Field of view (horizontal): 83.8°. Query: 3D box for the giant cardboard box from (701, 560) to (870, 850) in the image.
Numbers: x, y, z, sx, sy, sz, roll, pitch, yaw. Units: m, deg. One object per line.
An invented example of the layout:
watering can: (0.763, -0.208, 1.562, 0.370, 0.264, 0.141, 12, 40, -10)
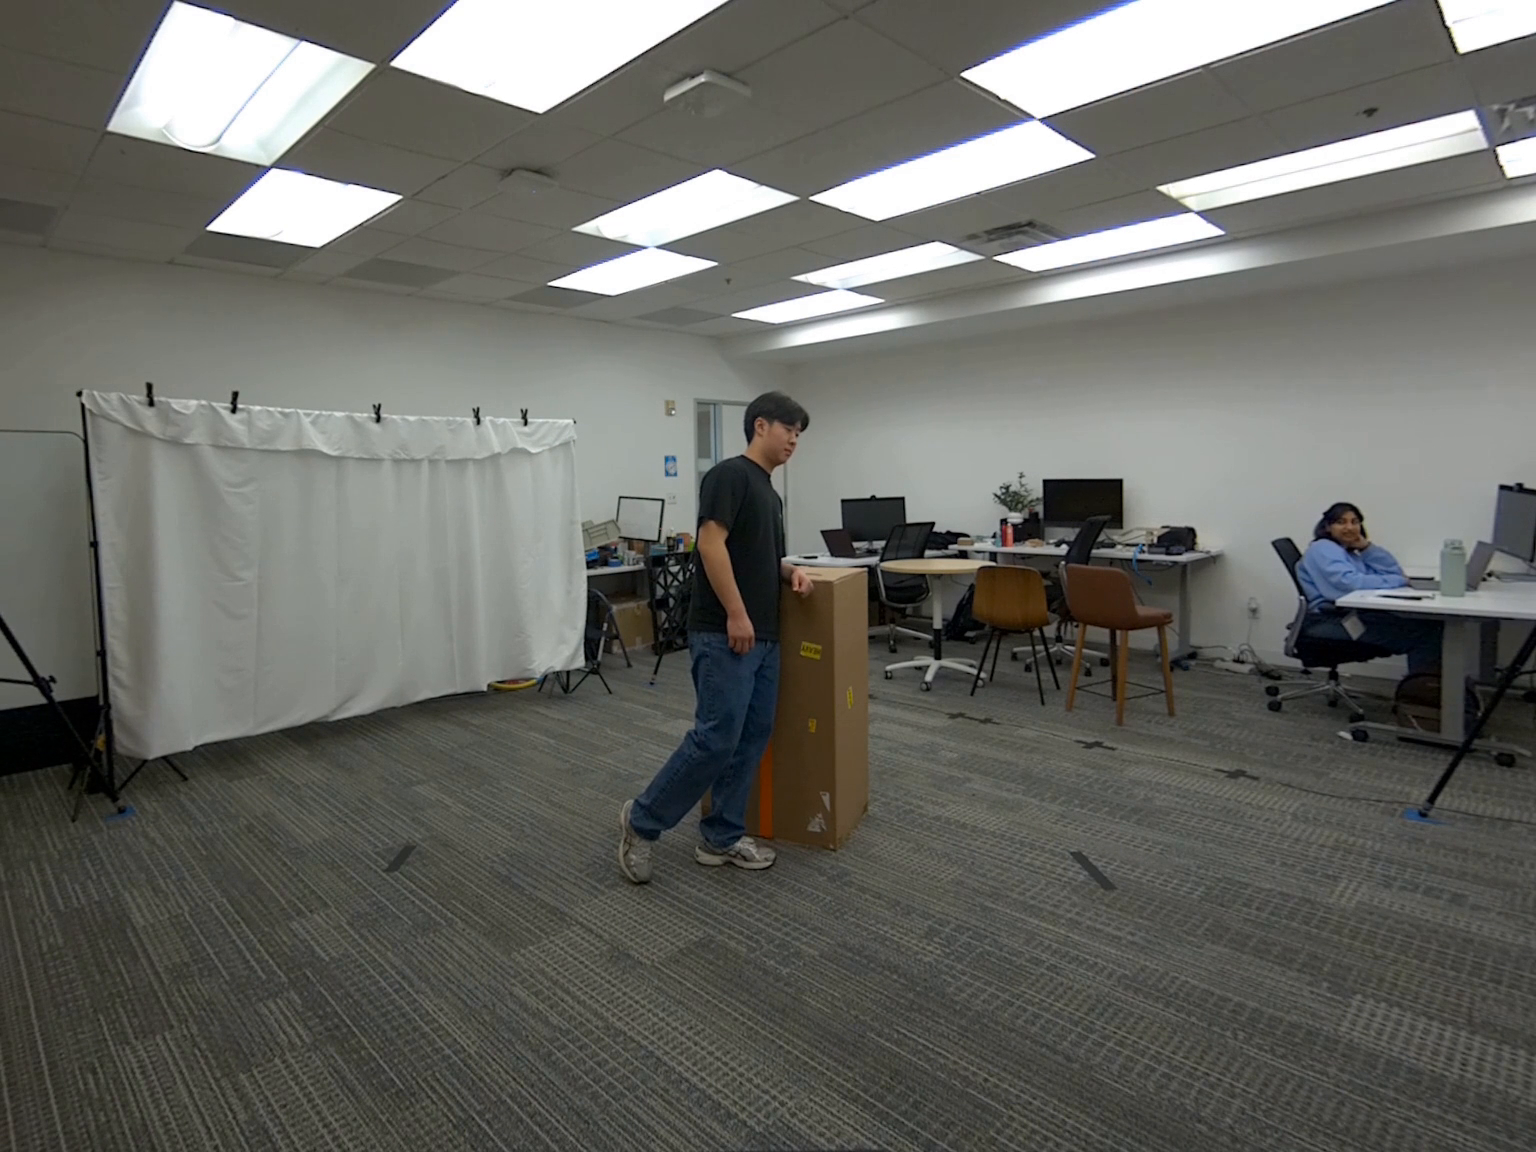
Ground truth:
giant cardboard box: (0.075, 0.486, 3.477, 0.598, 1.023, 0.438, 2, 5, 27)
